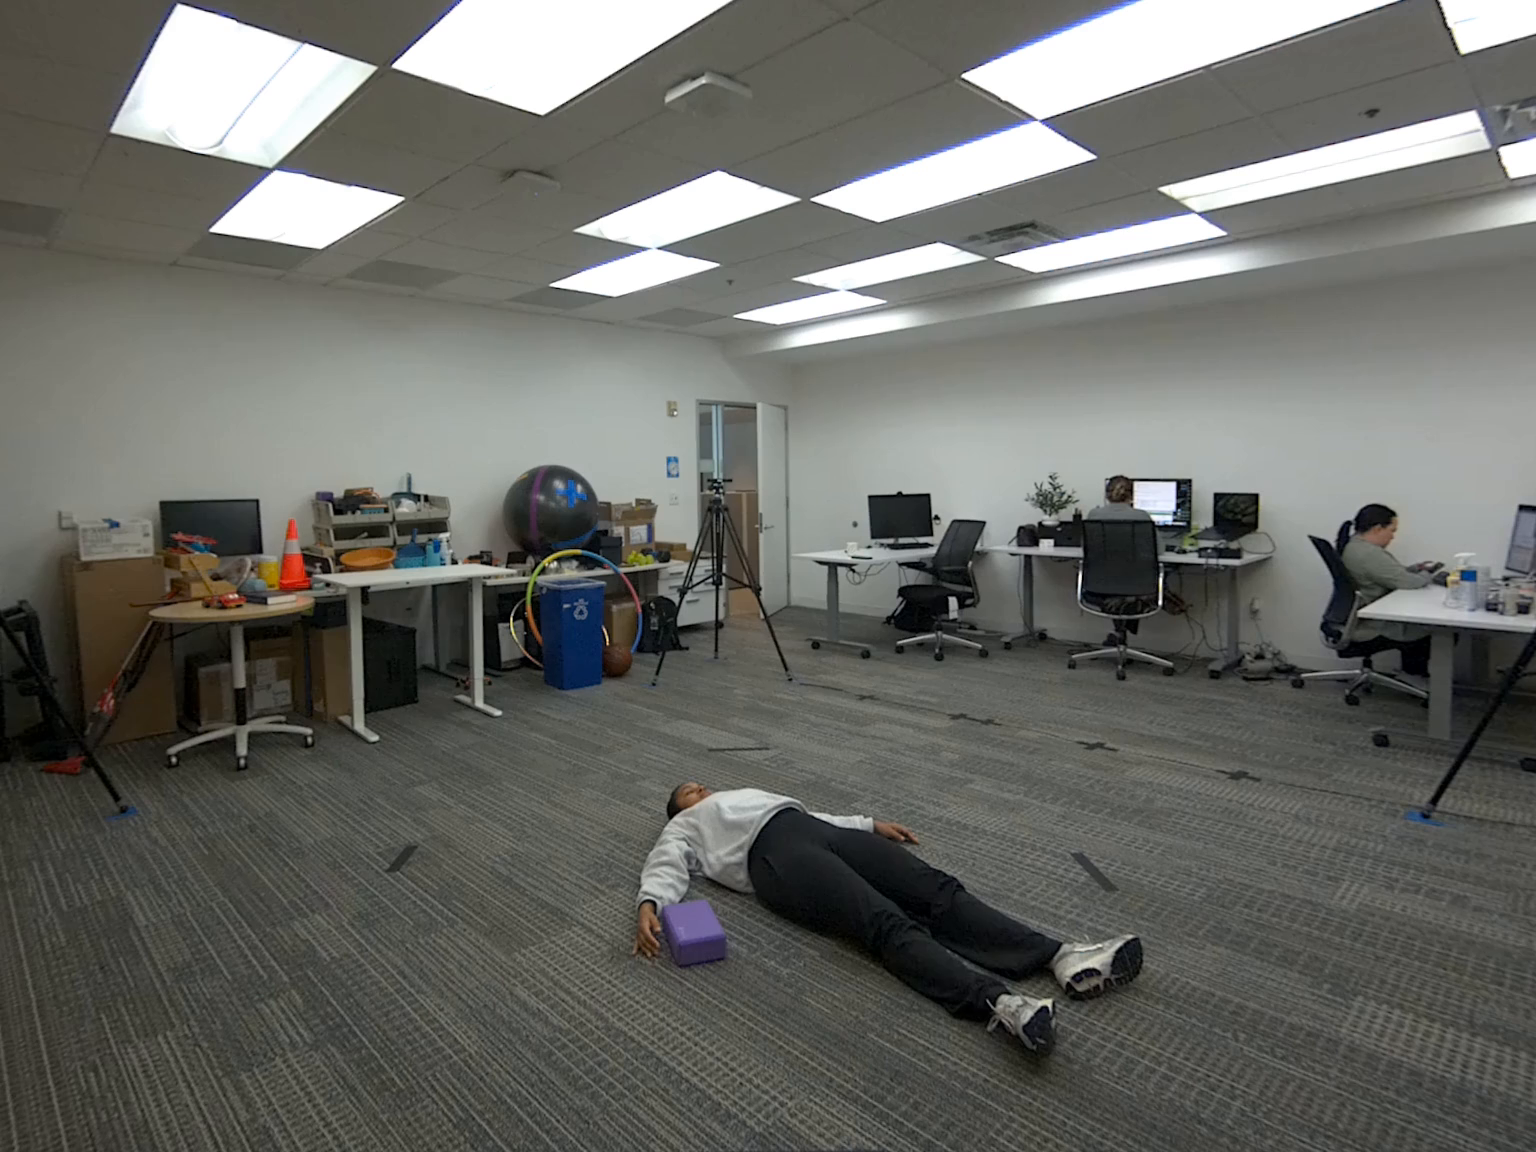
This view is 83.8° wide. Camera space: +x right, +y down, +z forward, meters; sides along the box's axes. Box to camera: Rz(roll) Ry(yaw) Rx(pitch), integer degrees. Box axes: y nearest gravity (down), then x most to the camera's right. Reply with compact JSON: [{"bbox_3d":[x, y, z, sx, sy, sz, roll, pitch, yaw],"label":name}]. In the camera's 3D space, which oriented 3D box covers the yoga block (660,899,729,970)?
[{"bbox_3d":[-0.217,1.078,2.575,0.146,0.076,0.235,-4,9,-23],"label":"yoga block"}]
